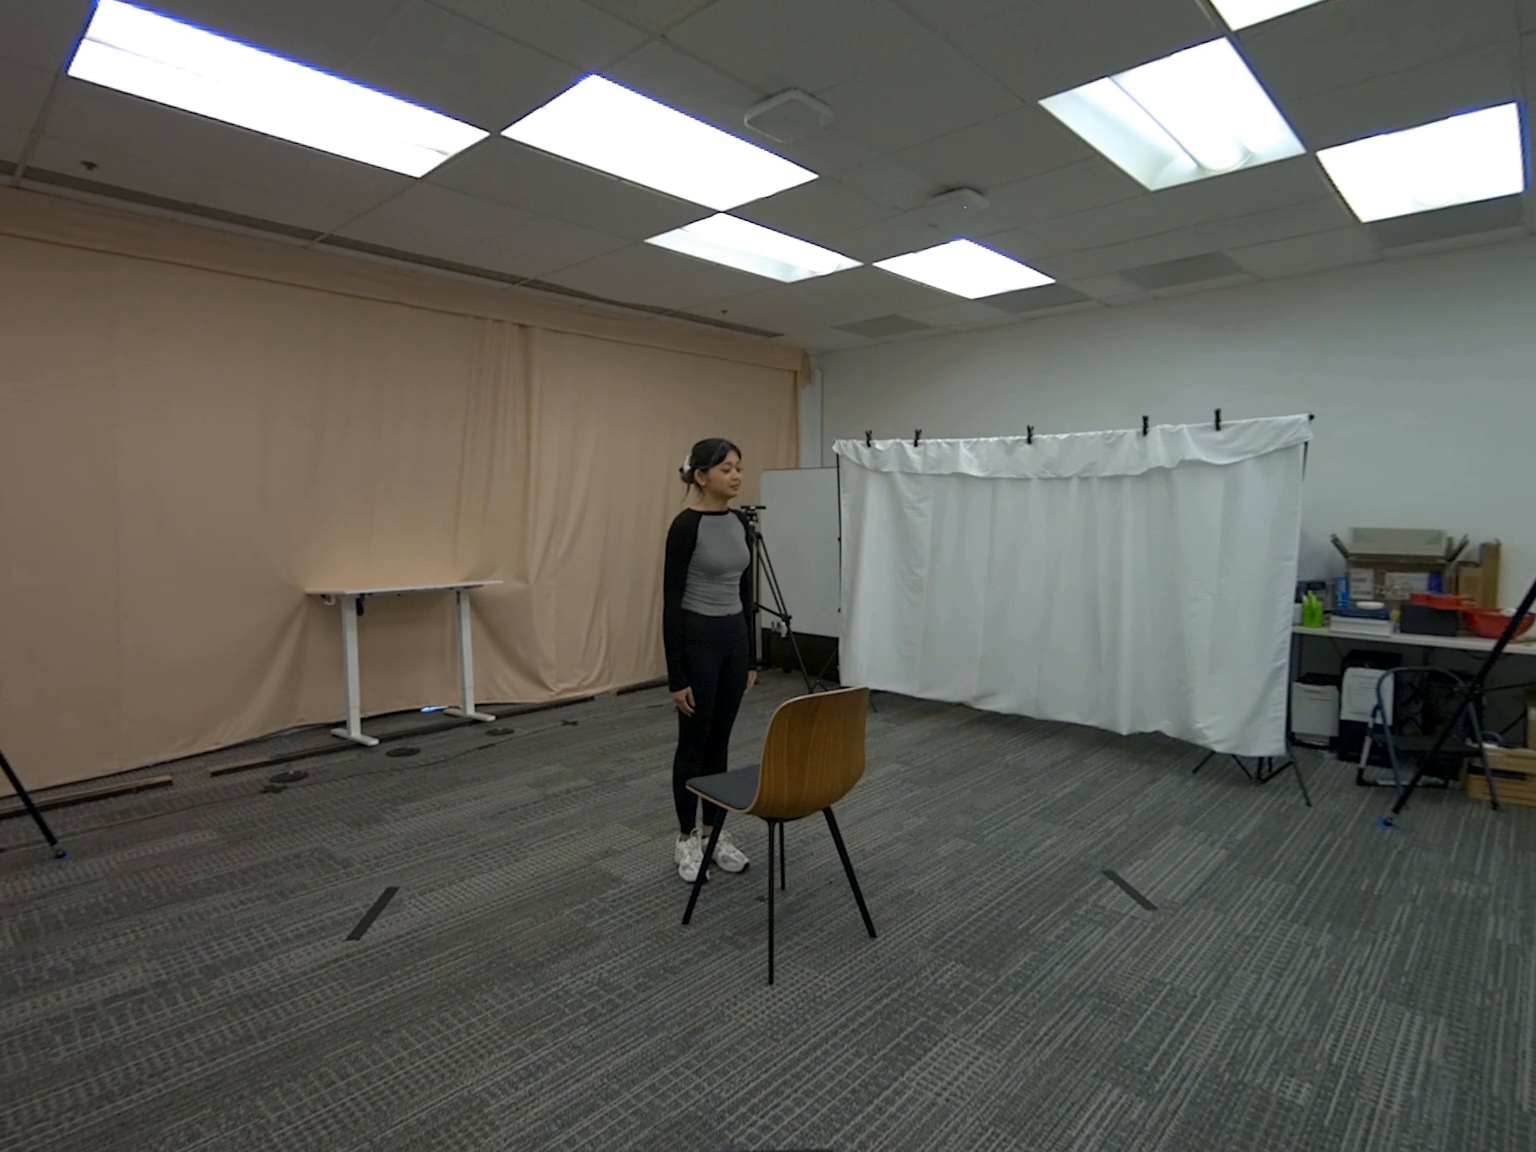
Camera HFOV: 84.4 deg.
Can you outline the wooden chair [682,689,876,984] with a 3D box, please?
[{"bbox_3d":[0.028,0.739,2.732,0.464,0.874,0.541,-3,9,-39],"label":"wooden chair"}]
